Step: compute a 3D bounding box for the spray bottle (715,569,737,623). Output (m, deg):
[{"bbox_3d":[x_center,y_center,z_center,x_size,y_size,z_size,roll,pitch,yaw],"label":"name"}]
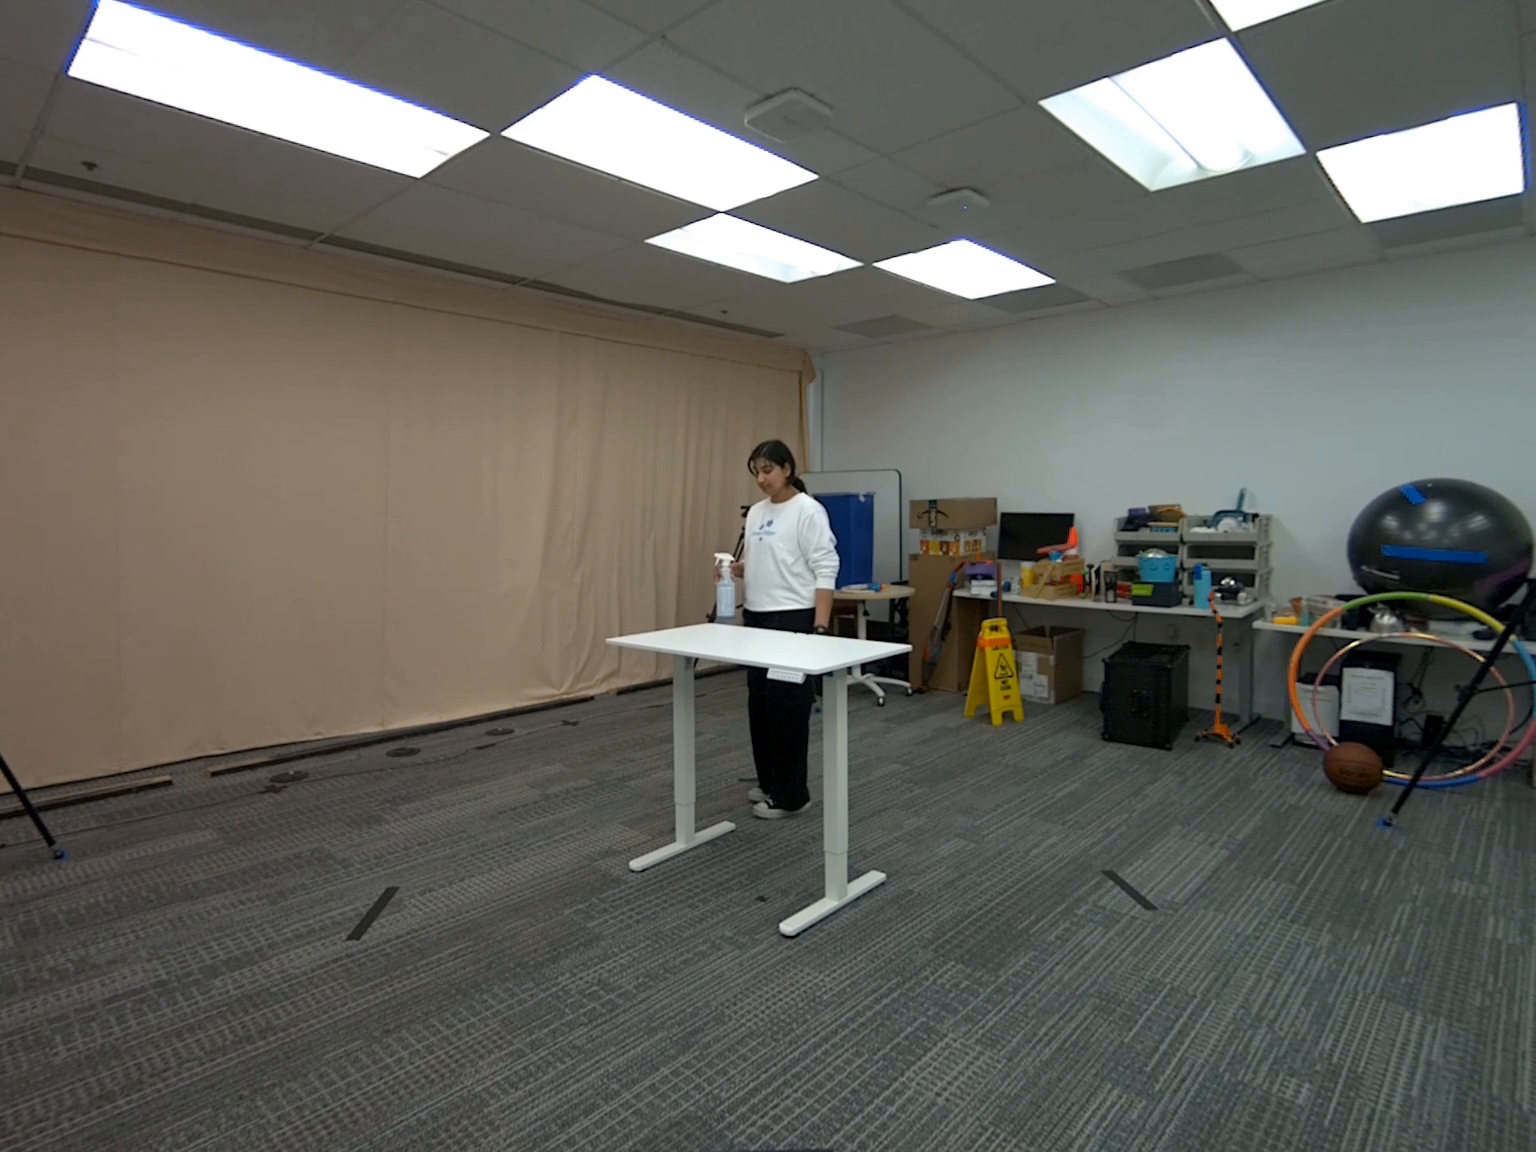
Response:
[{"bbox_3d":[-0.182,0.053,3.818,0.091,0.298,0.085,-1,-5,13],"label":"spray bottle"}]
